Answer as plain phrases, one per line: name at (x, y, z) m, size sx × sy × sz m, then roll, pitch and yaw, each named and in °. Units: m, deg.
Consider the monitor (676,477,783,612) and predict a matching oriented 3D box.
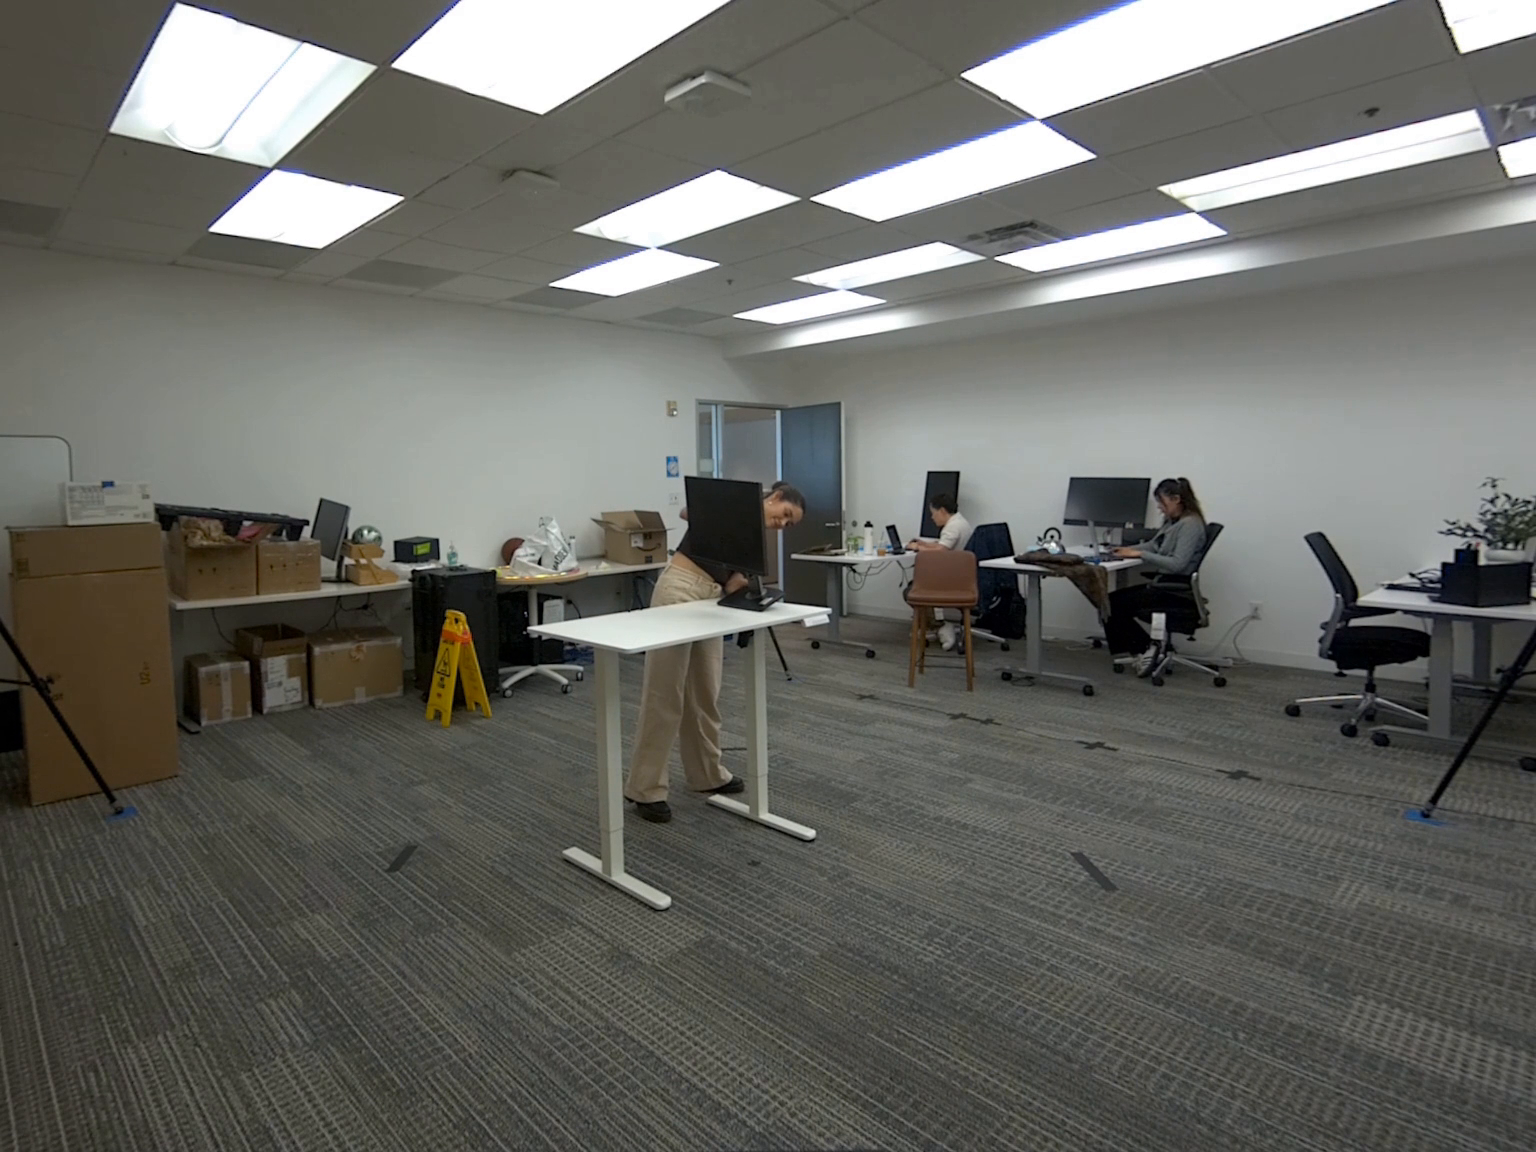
monitor at (-0.130, -0.135, 3.378) m, size 0.185 × 0.513 × 0.556 m, roll -25°, pitch 20°, yaw -30°
